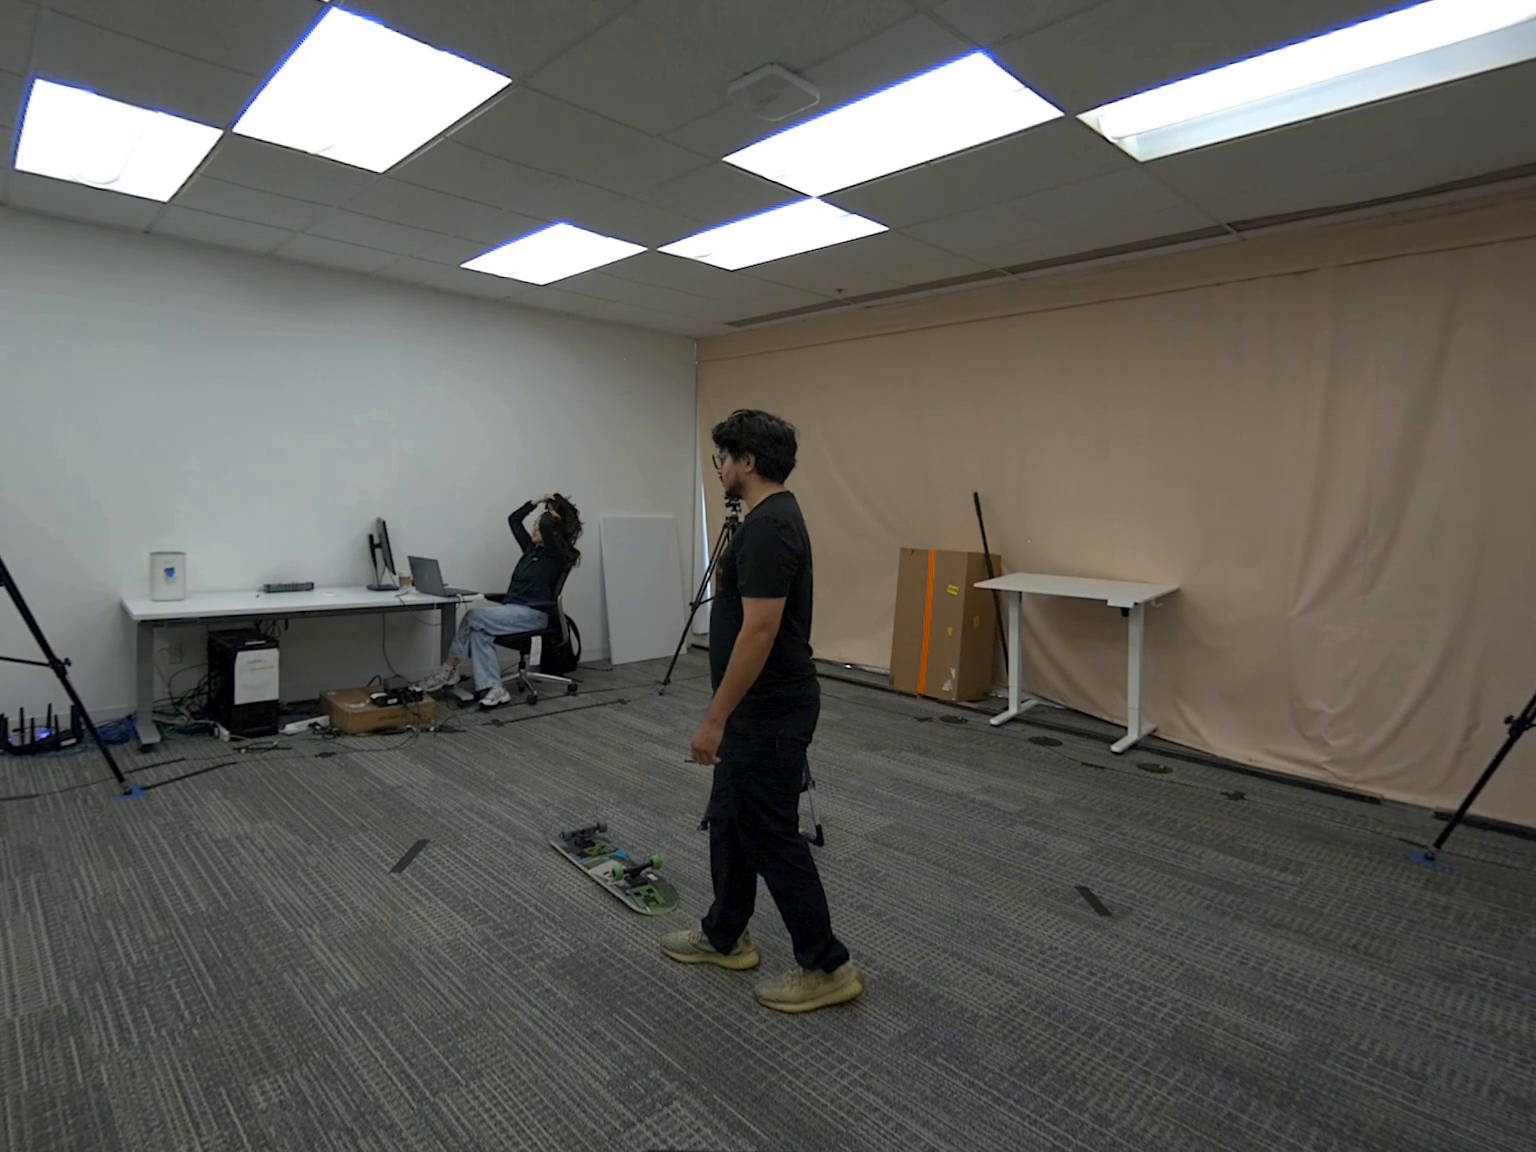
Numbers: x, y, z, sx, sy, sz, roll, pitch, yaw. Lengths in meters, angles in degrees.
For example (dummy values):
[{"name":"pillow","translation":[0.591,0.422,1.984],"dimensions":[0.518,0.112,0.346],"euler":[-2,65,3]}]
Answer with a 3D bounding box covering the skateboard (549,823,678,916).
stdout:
[{"name":"skateboard","translation":[-0.595,1.041,3.116],"dimensions":[0.189,0.110,0.805],"euler":[-2,6,-38]}]
